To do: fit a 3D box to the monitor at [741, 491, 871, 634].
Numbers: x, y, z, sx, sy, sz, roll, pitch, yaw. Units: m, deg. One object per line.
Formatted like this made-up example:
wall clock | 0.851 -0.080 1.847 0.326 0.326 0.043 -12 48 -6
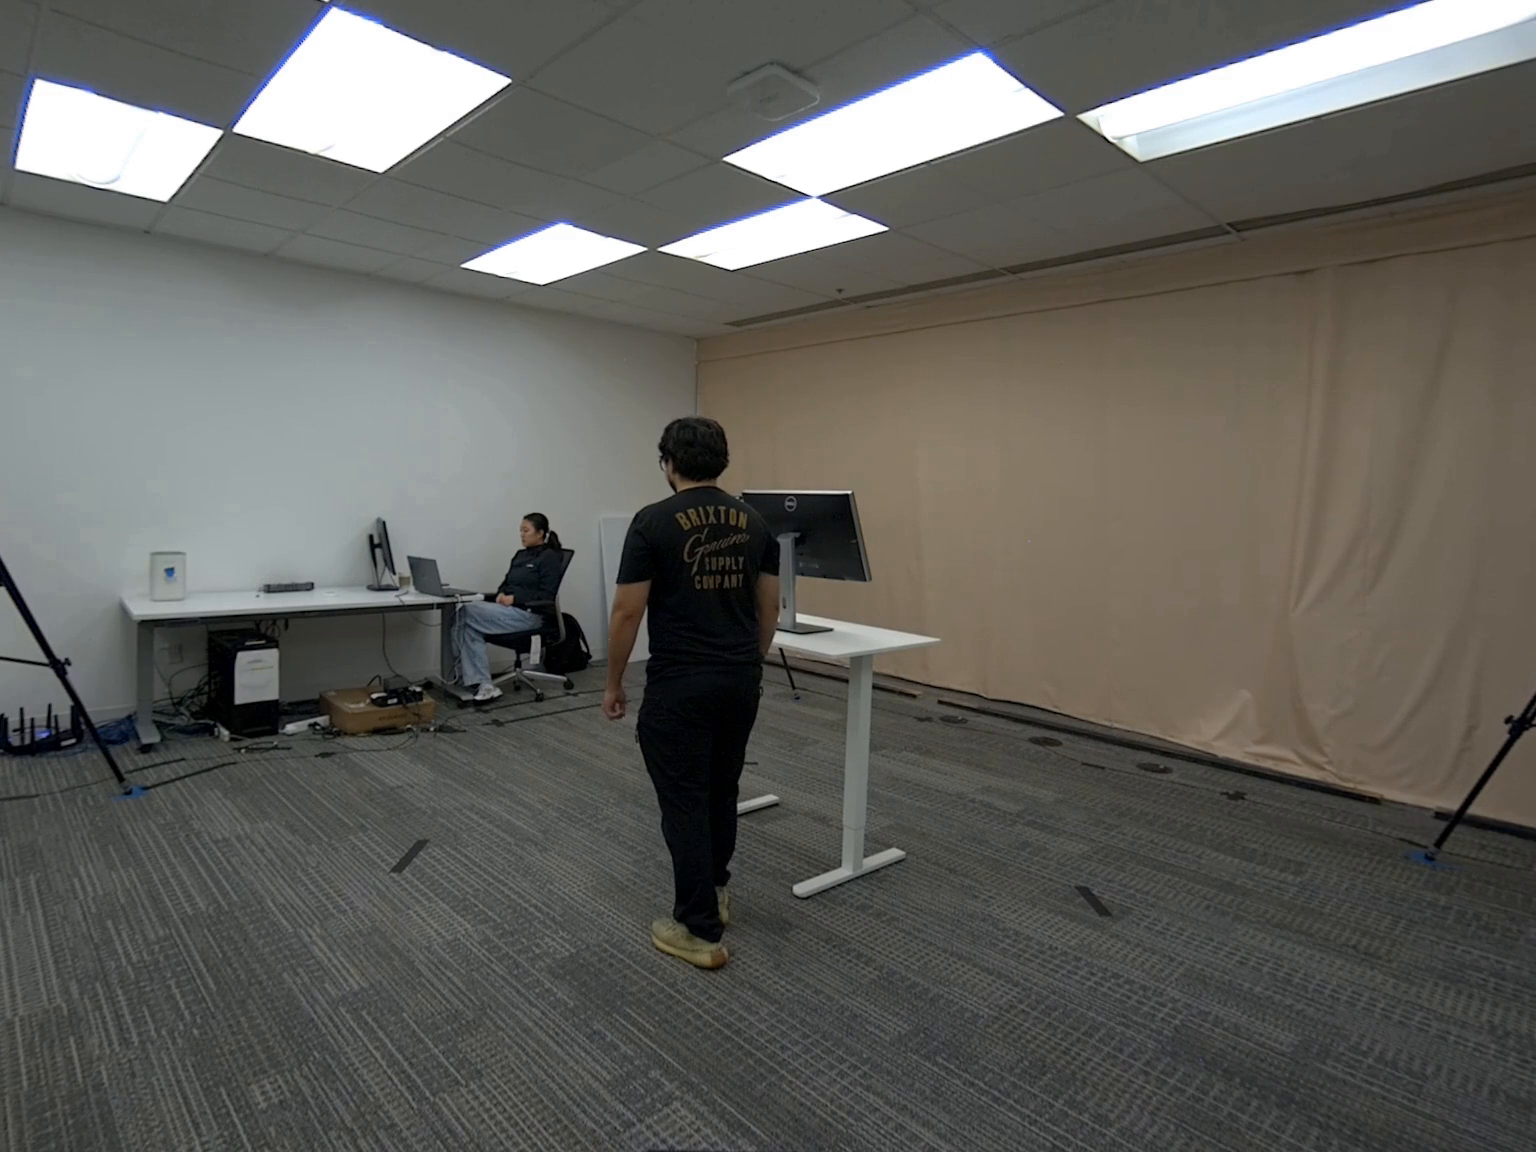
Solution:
monitor | 0.092 -0.057 3.283 0.580 0.549 0.206 6 15 44
